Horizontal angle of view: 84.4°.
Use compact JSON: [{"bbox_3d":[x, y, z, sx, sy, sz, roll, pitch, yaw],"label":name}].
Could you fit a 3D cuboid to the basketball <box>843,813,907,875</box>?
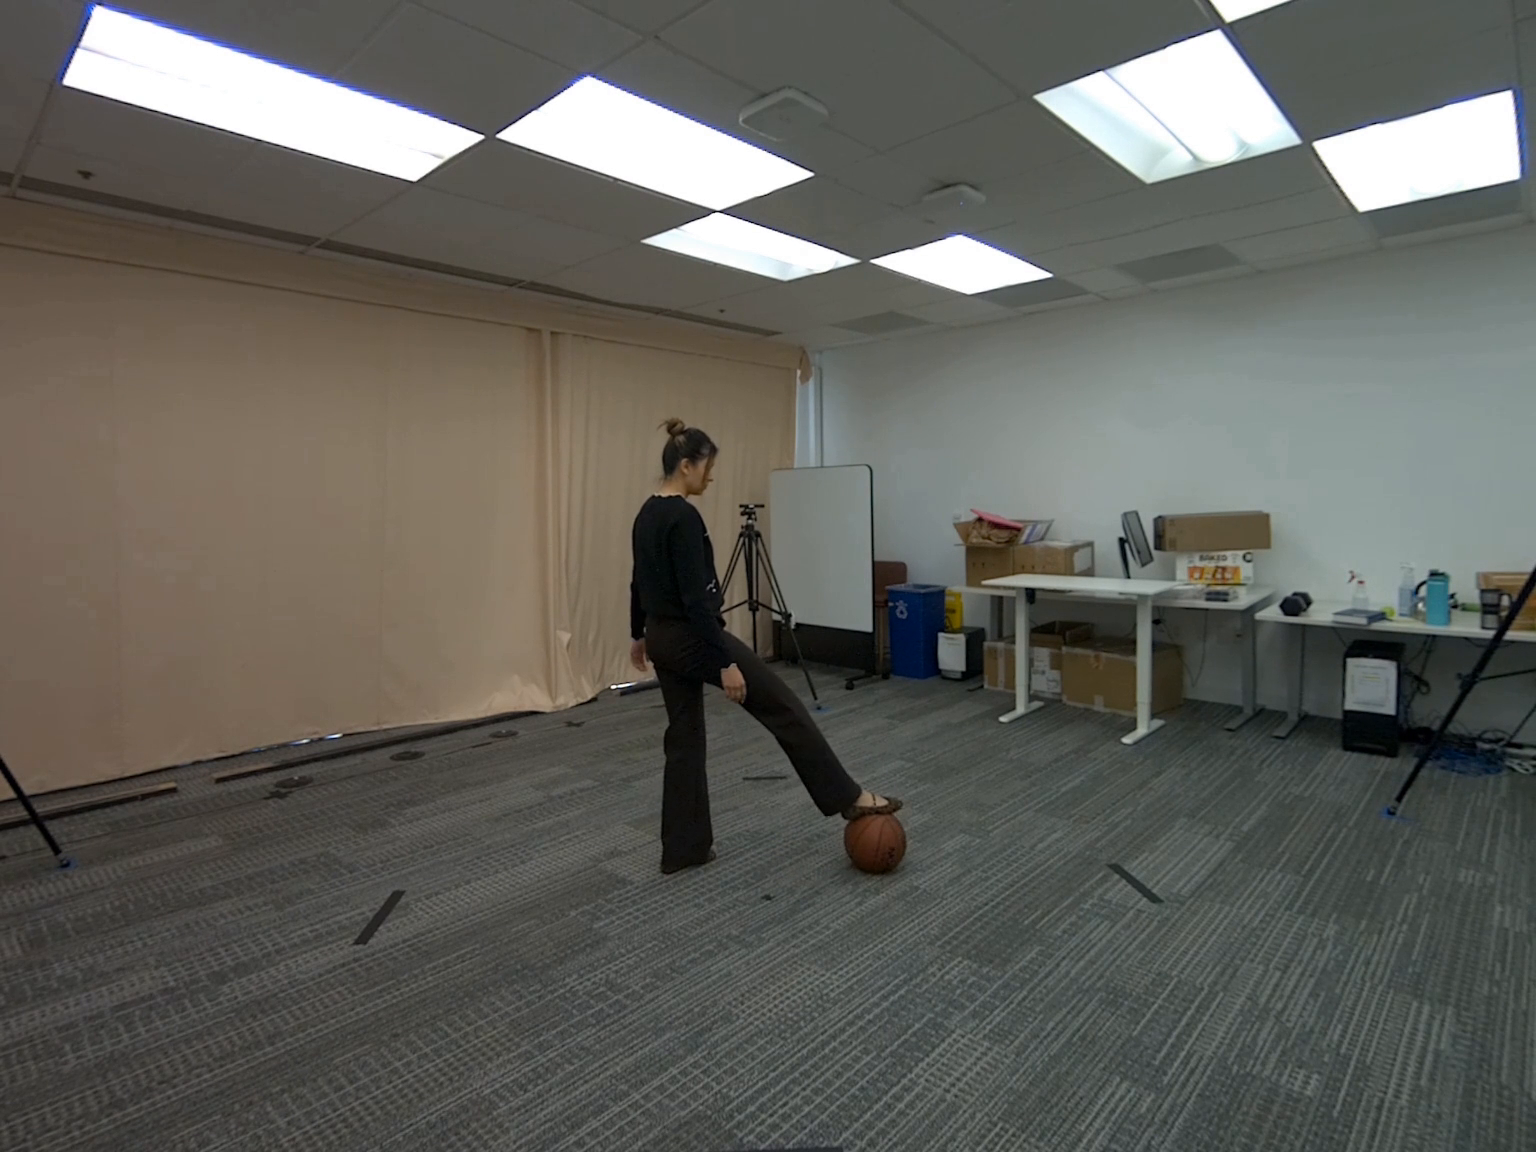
[{"bbox_3d":[0.406,1.008,3.214,0.236,0.235,0.237,-1,4,-2],"label":"basketball"}]
